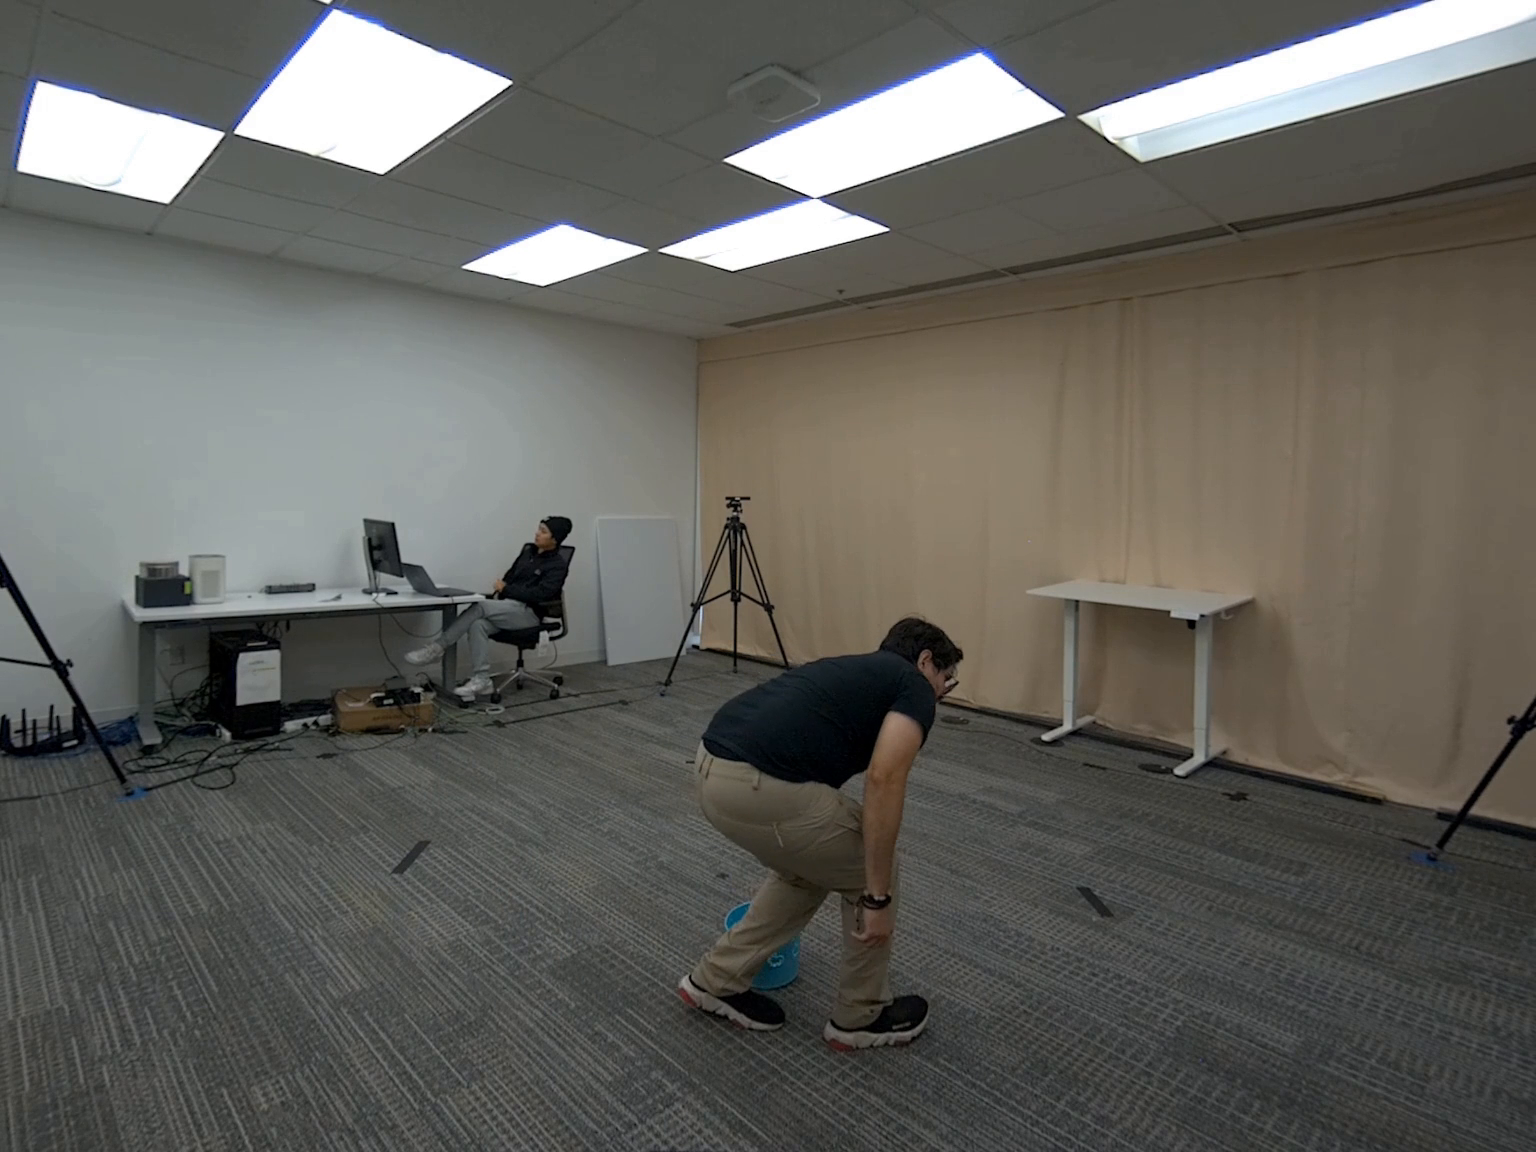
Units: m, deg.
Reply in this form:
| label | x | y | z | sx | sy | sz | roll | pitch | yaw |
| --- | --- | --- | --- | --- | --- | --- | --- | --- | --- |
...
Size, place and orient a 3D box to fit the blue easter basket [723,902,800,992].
| label | x | y | z | sx | sy | sz | roll | pitch | yaw |
| --- | --- | --- | --- | --- | --- | --- | --- | --- | --- |
| blue easter basket | -0.009 | 1.088 | 2.468 | 0.243 | 0.155 | 0.245 | -4 | 7 | -1 |
